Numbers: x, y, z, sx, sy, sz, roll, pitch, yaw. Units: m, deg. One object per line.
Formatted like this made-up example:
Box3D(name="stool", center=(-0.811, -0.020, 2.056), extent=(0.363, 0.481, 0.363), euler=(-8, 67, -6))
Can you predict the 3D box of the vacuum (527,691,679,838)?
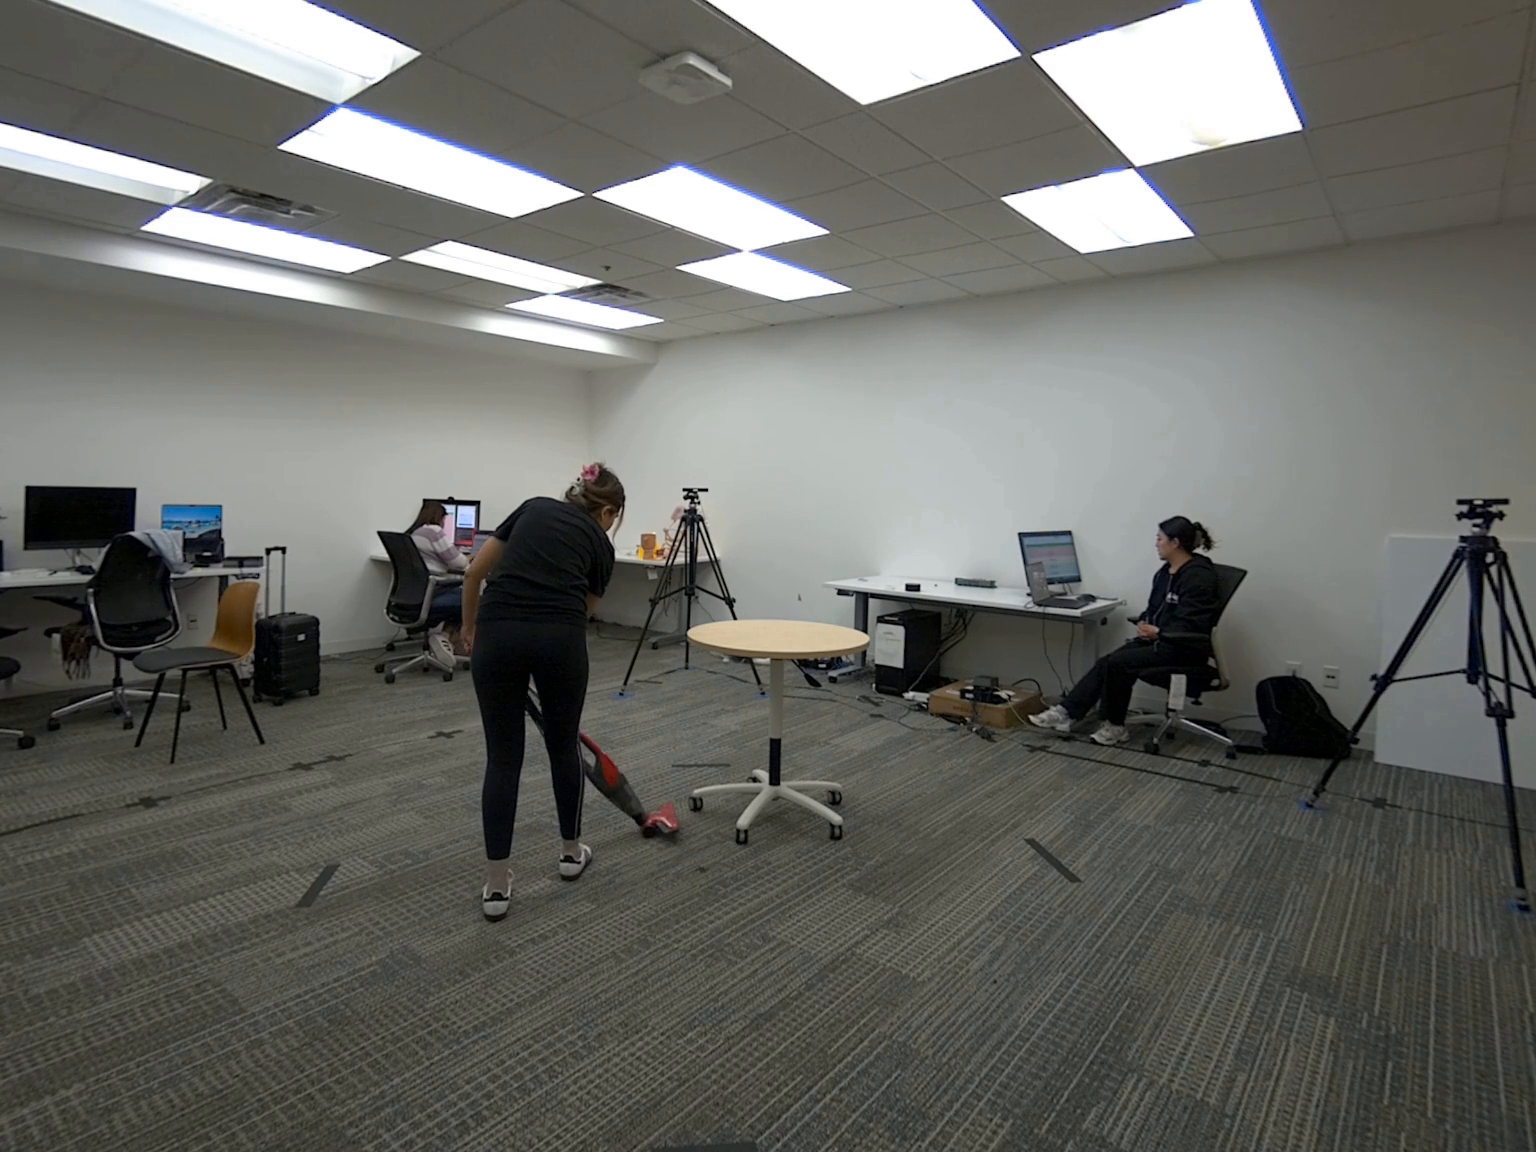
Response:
Box3D(name="vacuum", center=(-0.794, 0.650, 3.359), extent=(1.033, 0.144, 0.256), euler=(45, -2, -11))
